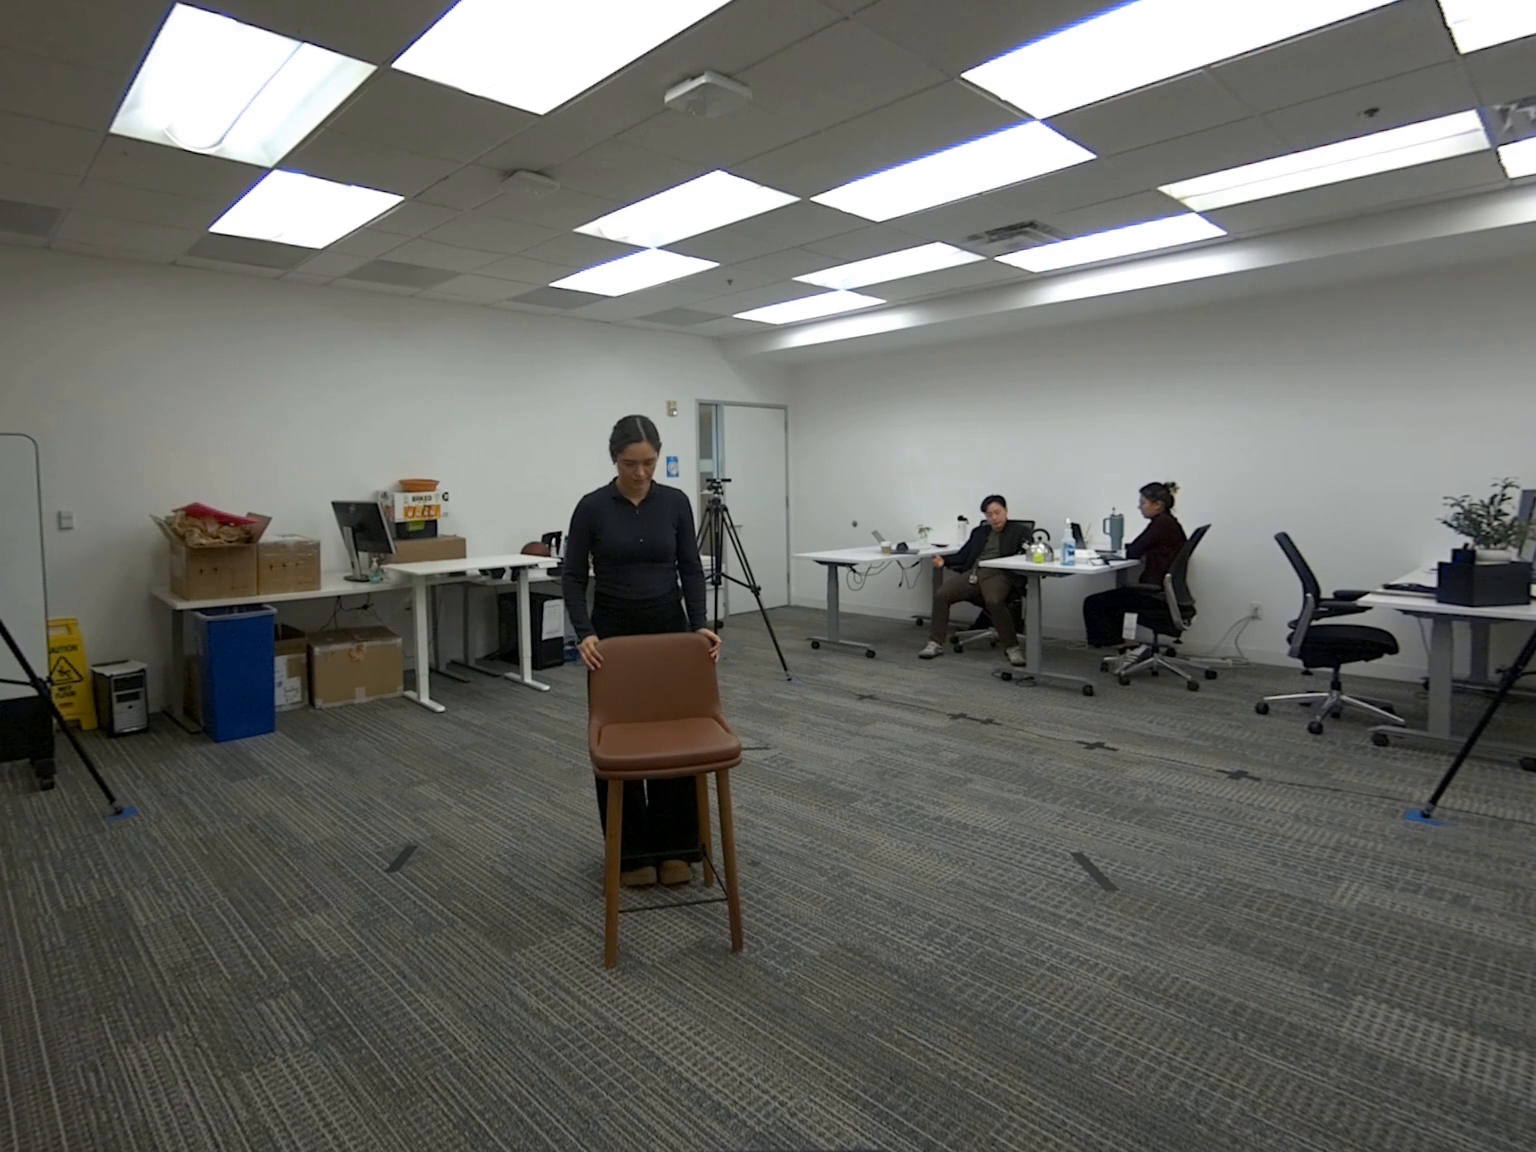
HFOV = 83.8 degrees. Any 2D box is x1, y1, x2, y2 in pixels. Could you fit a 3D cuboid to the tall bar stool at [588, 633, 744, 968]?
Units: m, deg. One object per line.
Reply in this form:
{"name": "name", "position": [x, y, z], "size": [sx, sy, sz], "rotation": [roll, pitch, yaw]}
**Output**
{"name": "tall bar stool", "position": [-0.329, 0.660, 2.691], "size": [0.452, 0.889, 0.473], "rotation": [-2, 1, -12]}
